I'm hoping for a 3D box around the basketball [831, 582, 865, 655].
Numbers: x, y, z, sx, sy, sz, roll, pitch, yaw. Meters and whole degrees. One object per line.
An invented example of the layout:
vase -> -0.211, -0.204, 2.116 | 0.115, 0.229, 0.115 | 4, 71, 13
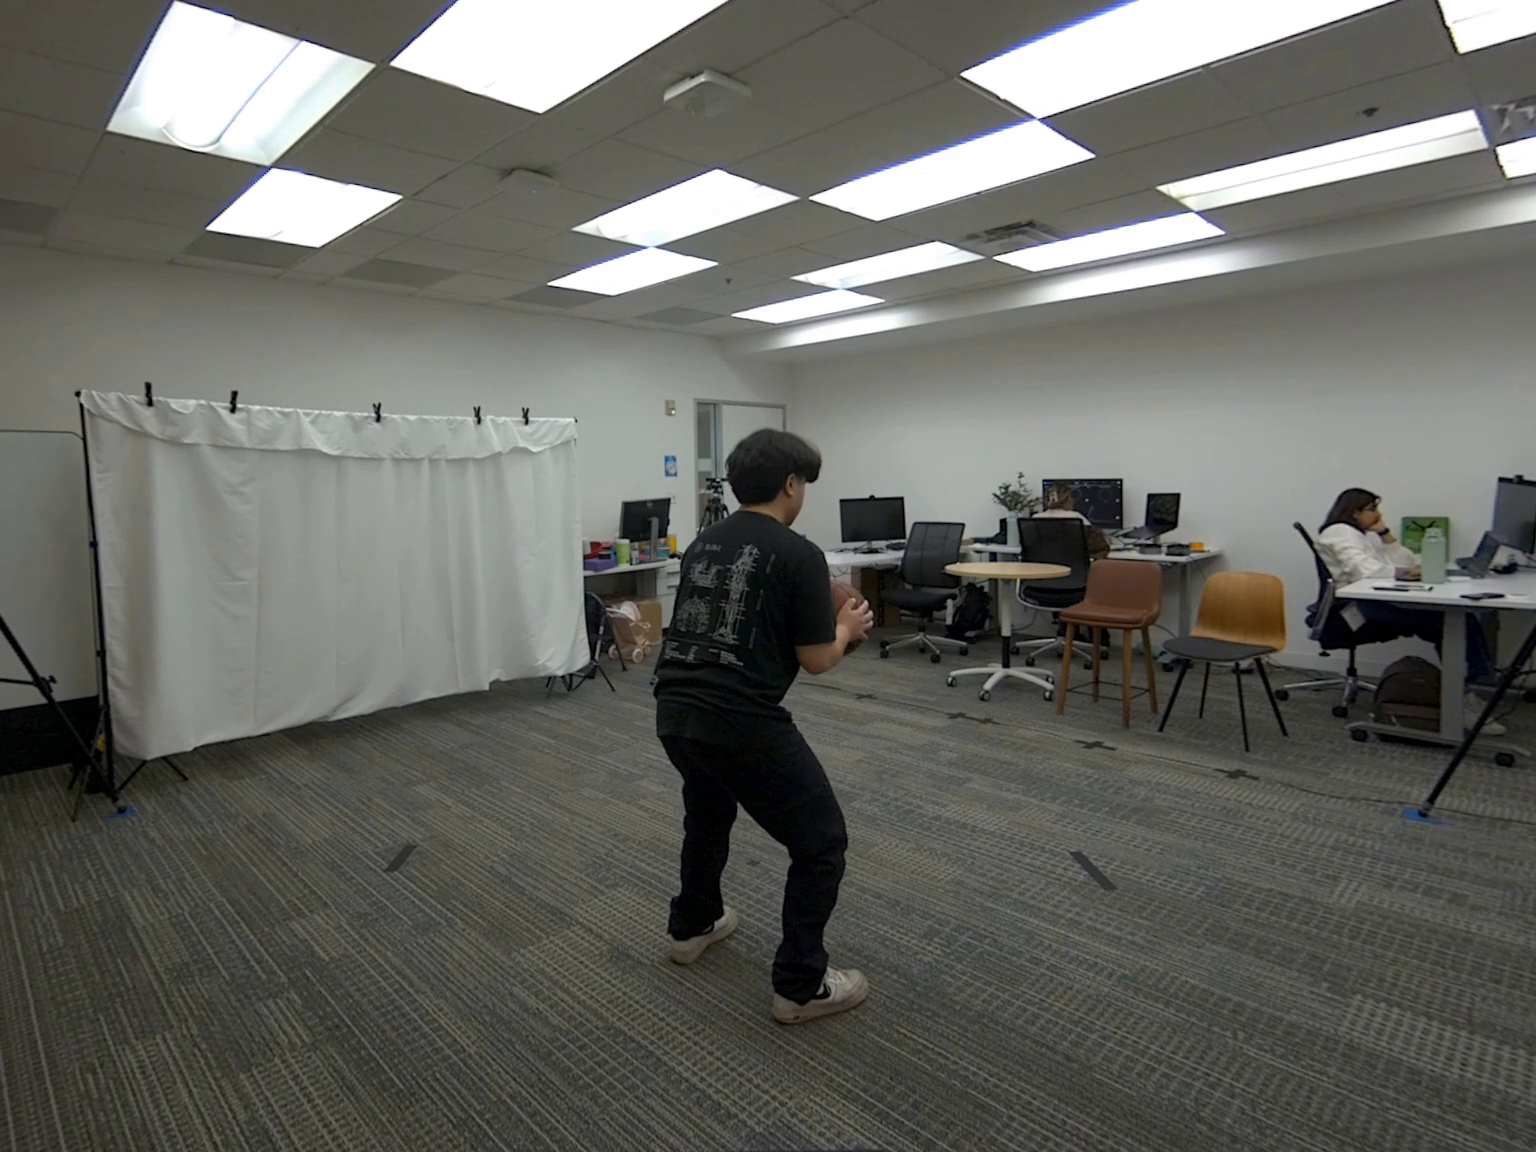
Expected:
basketball -> 0.201, 0.131, 2.590 | 0.236, 0.235, 0.237 | -1, 5, -2
